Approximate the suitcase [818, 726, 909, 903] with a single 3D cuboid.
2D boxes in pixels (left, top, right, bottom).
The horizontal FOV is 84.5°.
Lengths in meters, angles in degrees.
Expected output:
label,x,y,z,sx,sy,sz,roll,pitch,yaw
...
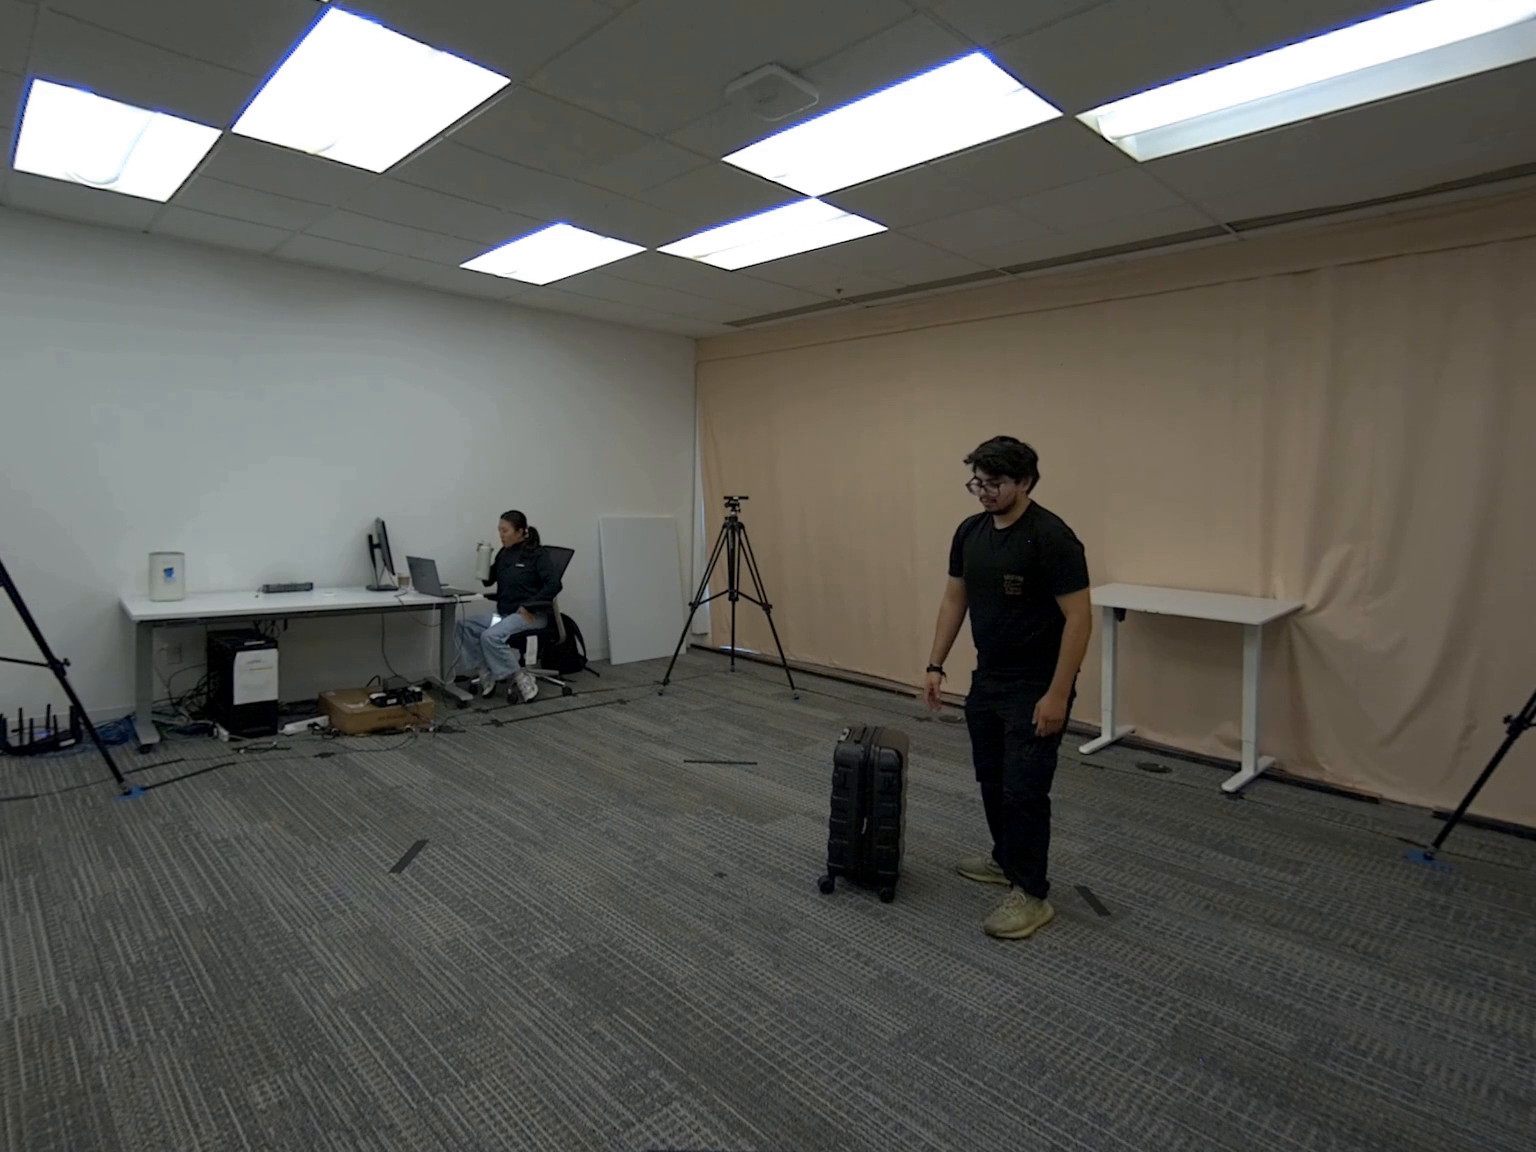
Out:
label,x,y,z,sx,sy,sz,roll,pitch,yaw
suitcase,0.370,0.839,3.090,0.251,0.548,0.371,5,4,14
